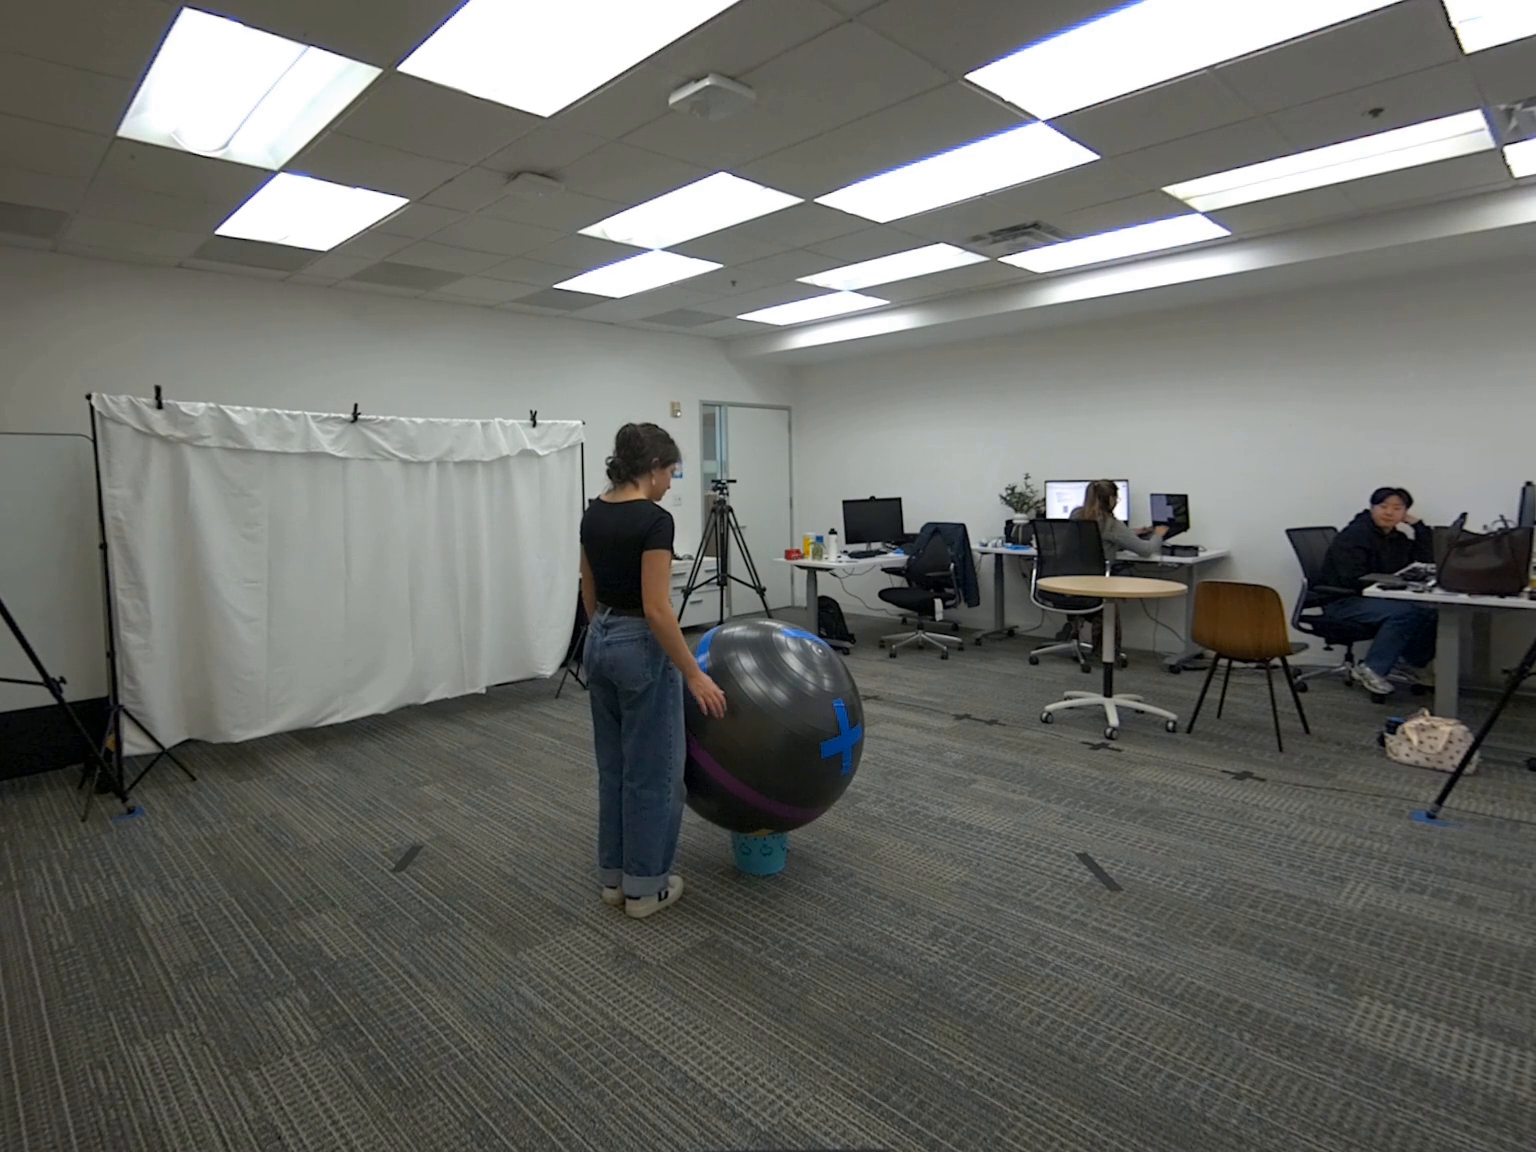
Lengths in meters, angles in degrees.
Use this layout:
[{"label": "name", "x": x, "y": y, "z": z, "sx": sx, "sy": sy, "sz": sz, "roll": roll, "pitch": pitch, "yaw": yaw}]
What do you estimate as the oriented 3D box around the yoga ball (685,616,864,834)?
[{"label": "yoga ball", "x": -0.032, "y": 0.536, "z": 3.085, "sx": 0.757, "sy": 0.755, "sz": 0.762, "roll": -1, "pitch": 5, "yaw": -2}]
